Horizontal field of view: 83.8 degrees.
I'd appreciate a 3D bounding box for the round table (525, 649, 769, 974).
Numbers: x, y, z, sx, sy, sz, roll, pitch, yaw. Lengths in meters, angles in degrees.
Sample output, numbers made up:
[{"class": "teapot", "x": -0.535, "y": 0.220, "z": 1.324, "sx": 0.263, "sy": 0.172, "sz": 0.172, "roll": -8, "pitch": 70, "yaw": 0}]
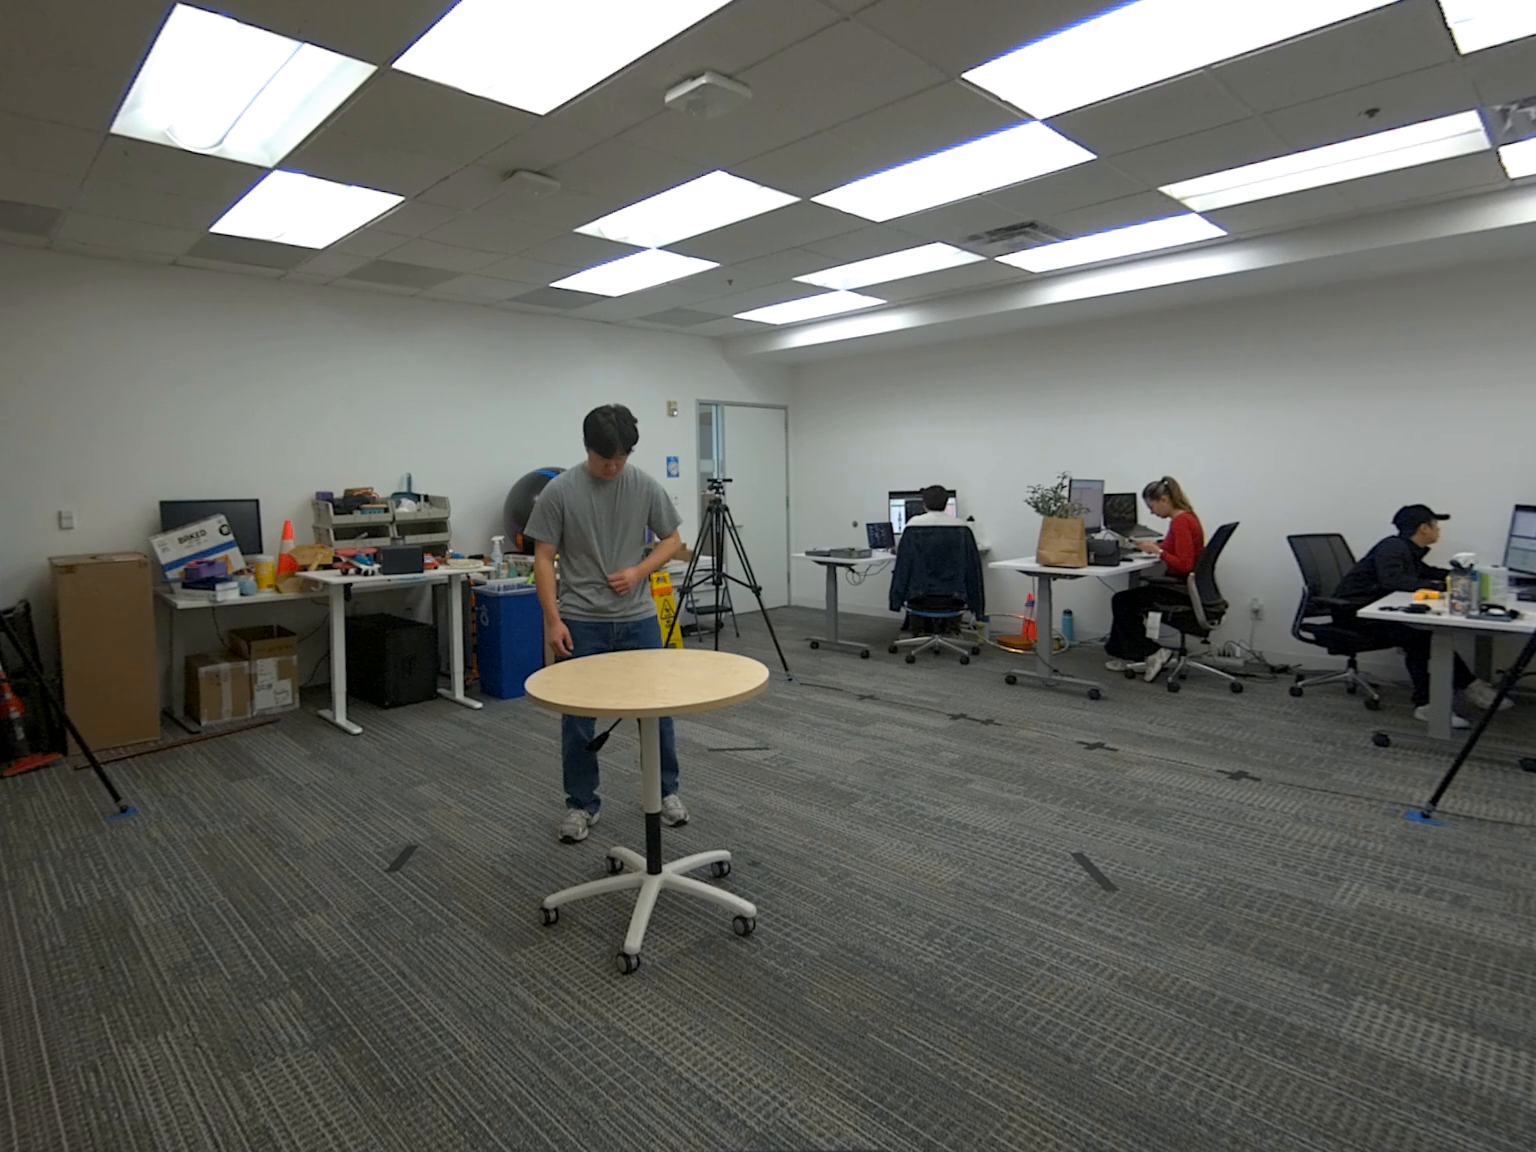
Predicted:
[{"class": "round table", "x": -0.370, "y": 0.704, "z": 2.739, "sx": 0.763, "sy": 0.790, "sz": 0.768, "roll": -1, "pitch": 6, "yaw": -2}]
